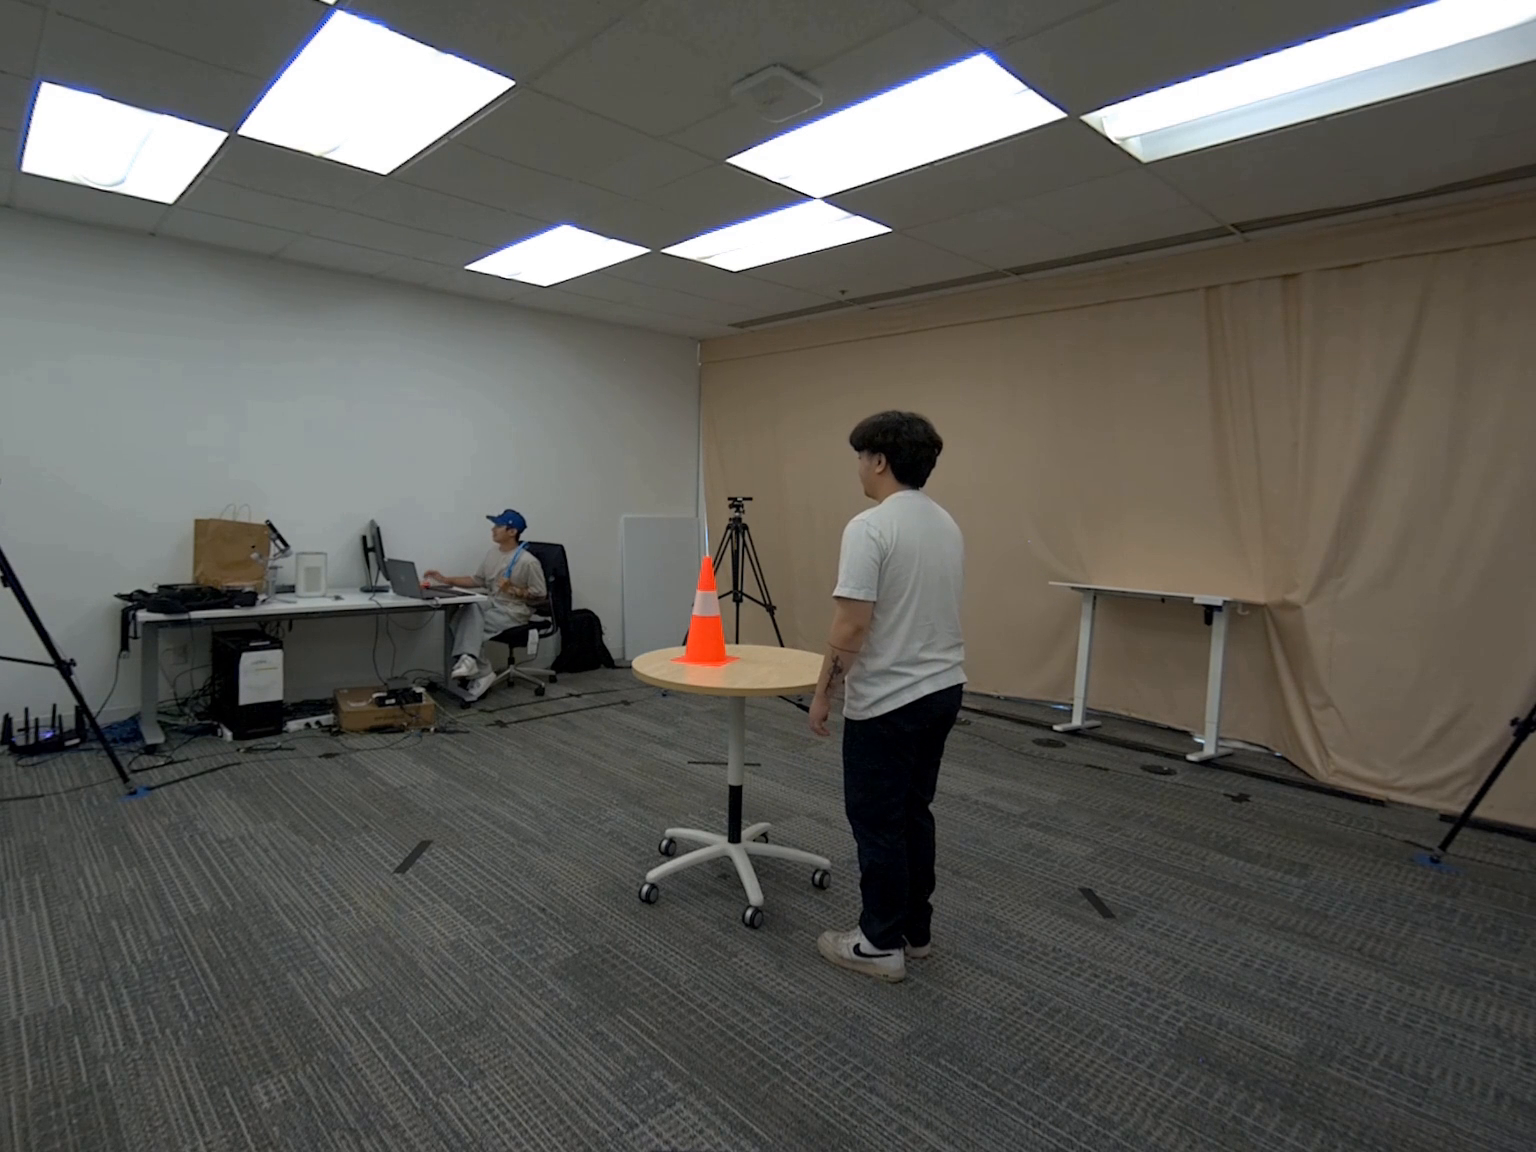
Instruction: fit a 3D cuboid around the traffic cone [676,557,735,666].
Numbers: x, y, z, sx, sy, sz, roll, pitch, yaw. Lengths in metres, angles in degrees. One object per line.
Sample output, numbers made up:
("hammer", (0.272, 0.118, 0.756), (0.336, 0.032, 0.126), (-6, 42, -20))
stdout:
("traffic cone", (-0.230, 0.124, 3.087), (0.207, 0.383, 0.201), (4, 3, 24))
